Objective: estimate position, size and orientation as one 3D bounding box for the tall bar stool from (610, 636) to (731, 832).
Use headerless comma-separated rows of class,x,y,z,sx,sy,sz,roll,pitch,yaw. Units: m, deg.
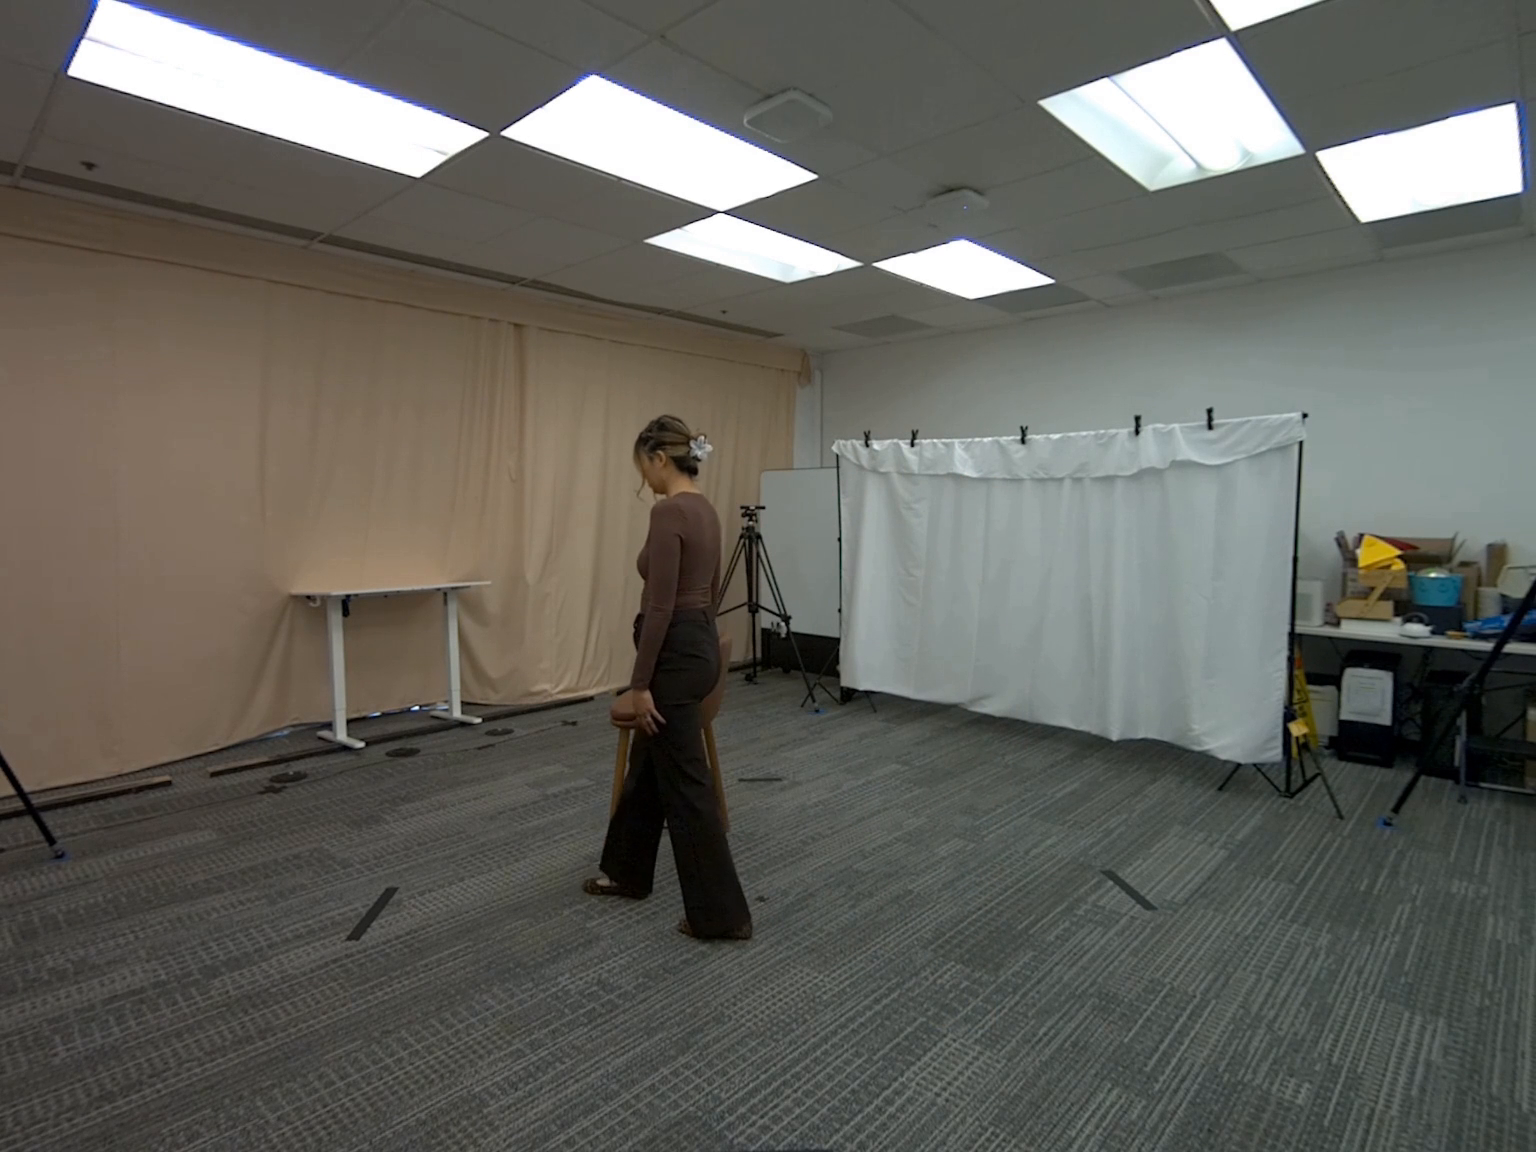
tall bar stool,-0.399,0.675,3.433,0.471,0.888,0.454,1,4,5
